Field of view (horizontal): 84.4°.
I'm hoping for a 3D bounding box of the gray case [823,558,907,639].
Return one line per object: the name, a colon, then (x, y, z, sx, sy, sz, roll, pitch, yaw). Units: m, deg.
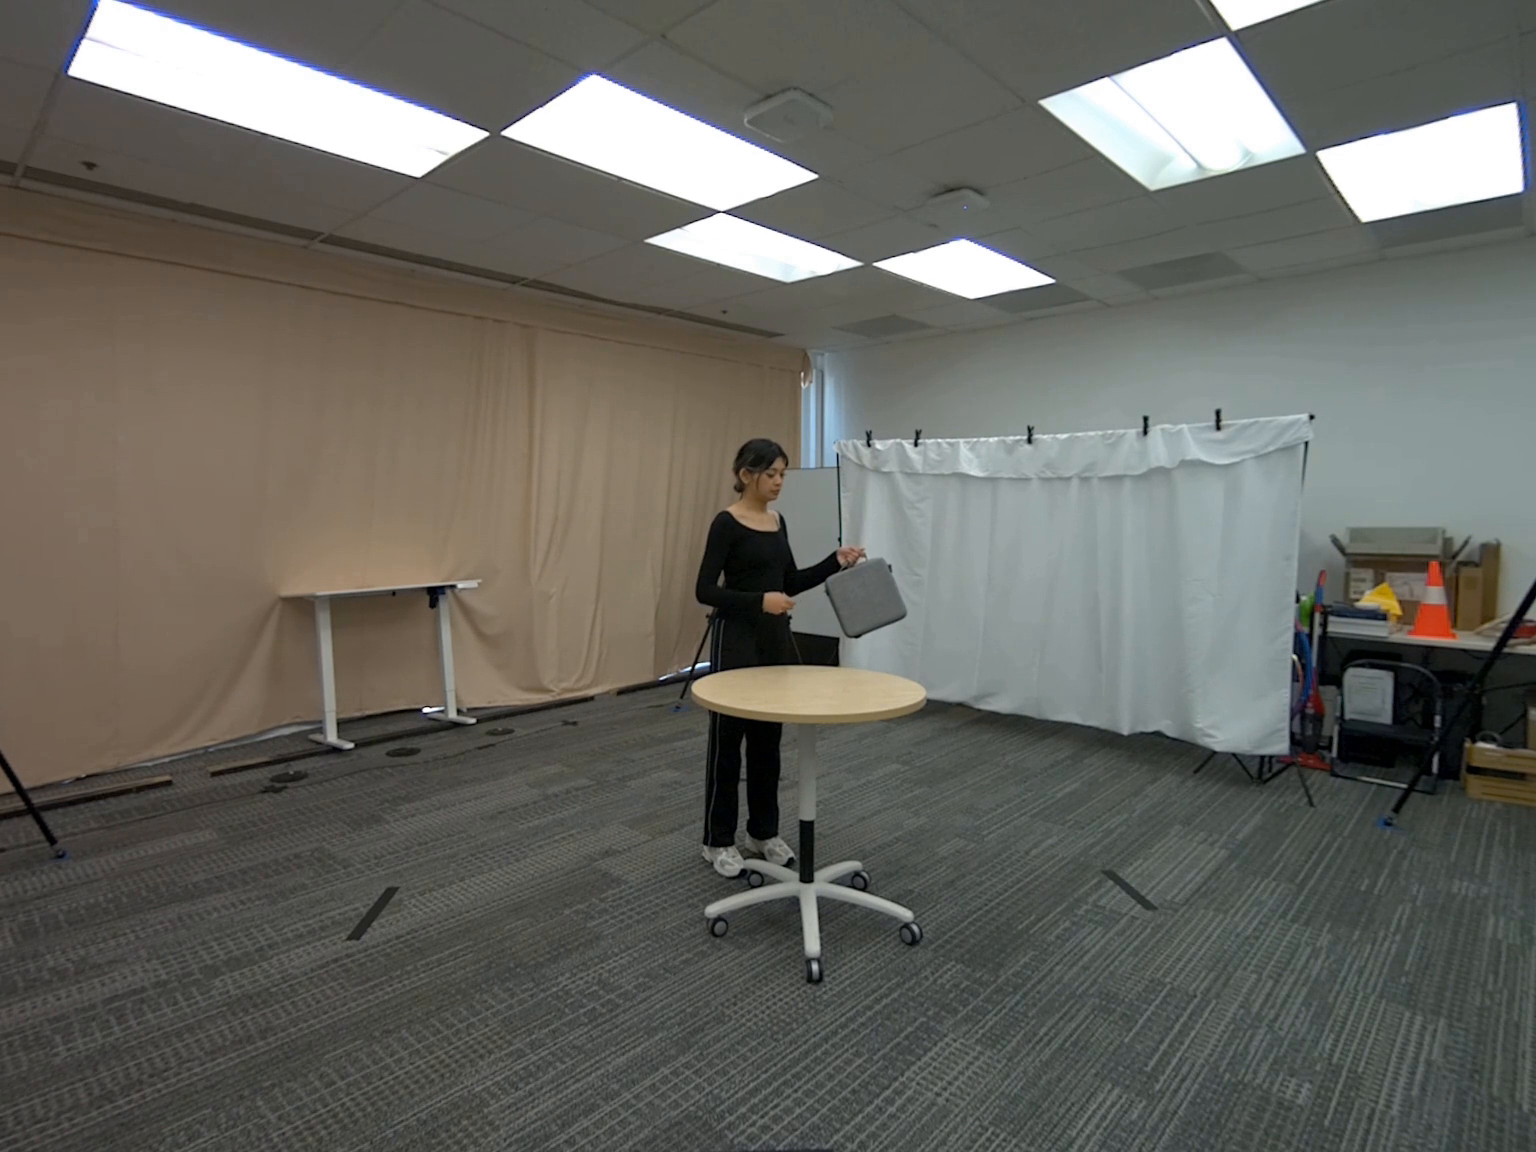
gray case: (0.385, 0.081, 3.245, 0.257, 0.263, 0.103, -24, -7, 2)
